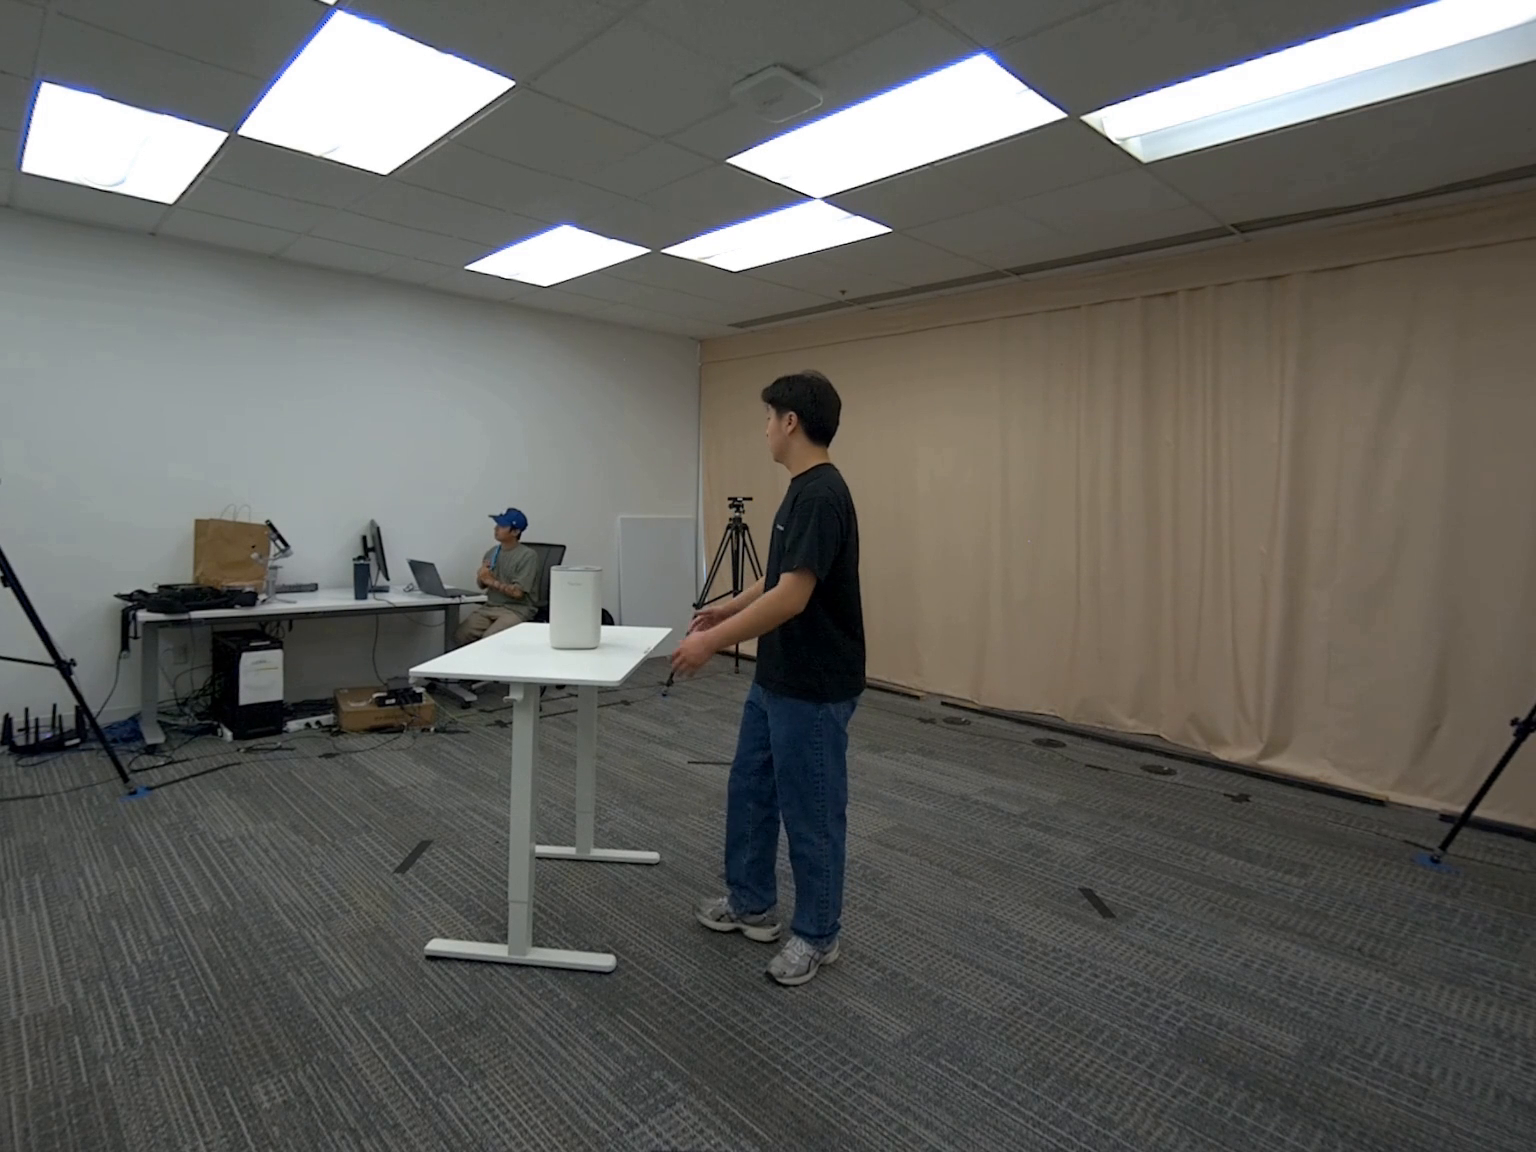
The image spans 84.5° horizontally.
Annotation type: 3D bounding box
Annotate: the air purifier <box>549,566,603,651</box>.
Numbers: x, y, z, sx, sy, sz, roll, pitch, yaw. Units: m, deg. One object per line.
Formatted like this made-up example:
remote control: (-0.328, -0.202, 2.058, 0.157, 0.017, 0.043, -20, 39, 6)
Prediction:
air purifier: (-0.656, 0.104, 2.837, 0.170, 0.265, 0.172, 3, 1, -6)
